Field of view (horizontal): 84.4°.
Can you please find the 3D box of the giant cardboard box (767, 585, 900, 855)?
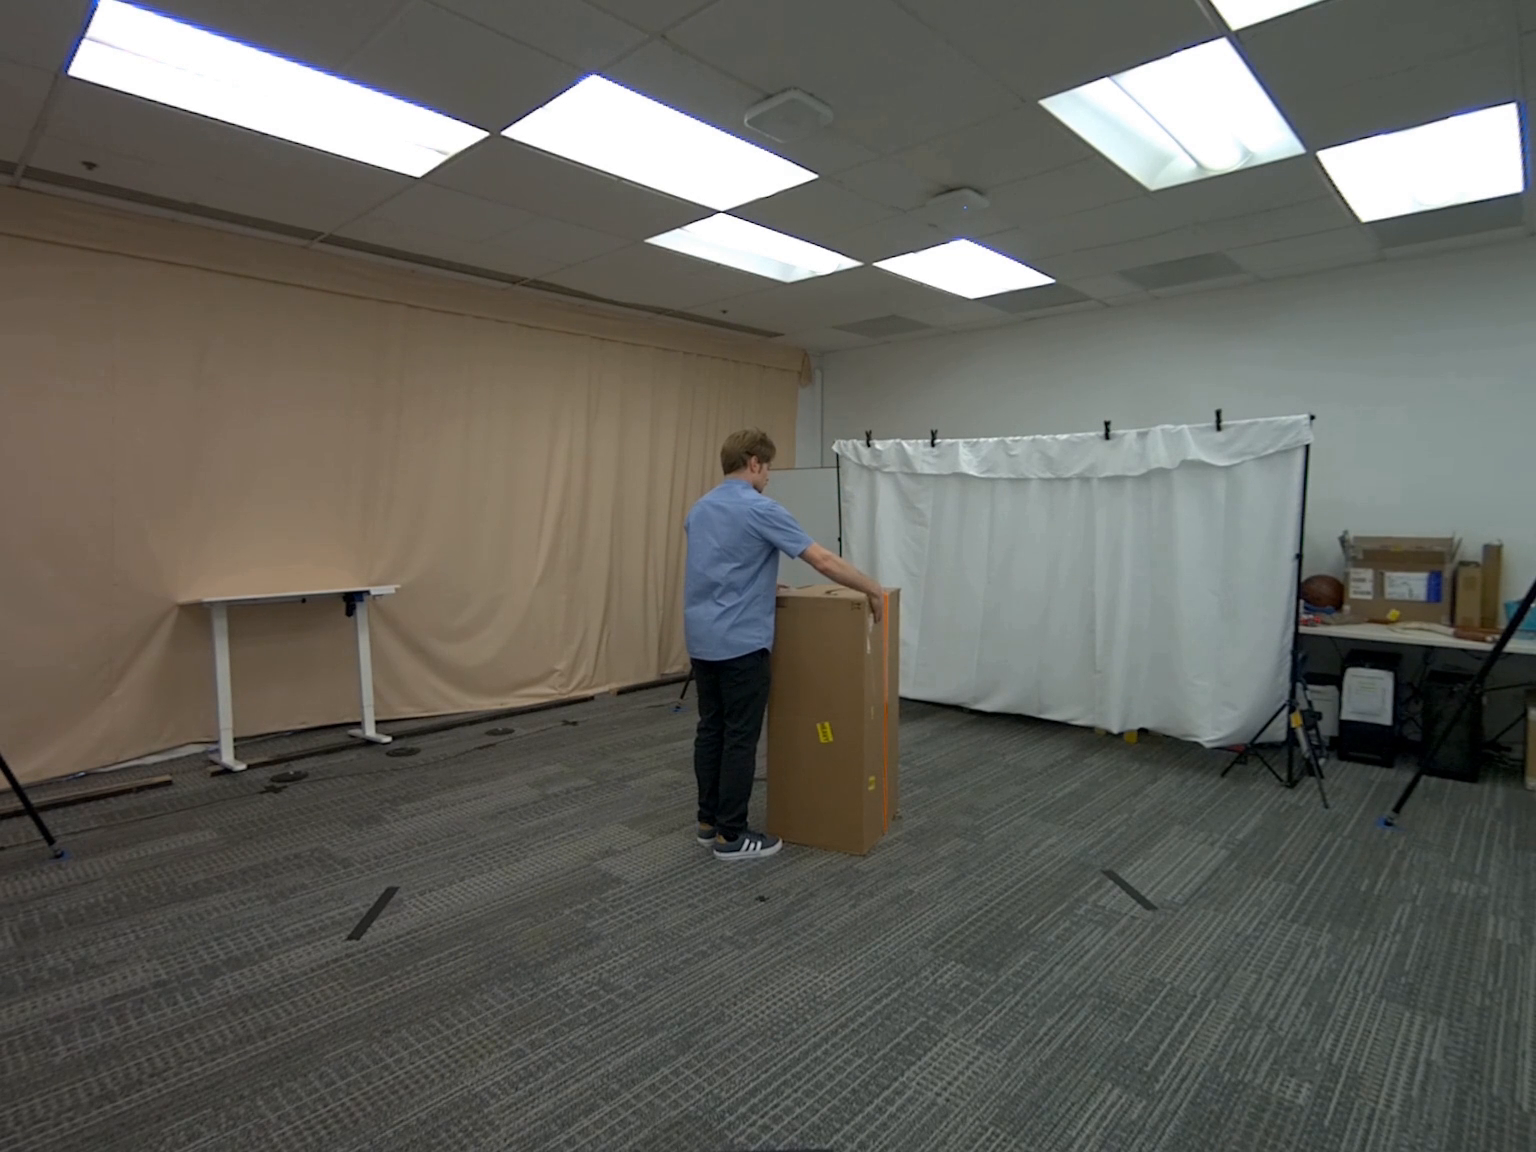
[{"bbox_3d":[0.307,0.578,3.671,0.437,1.024,0.564,2,3,25],"label":"giant cardboard box"}]
